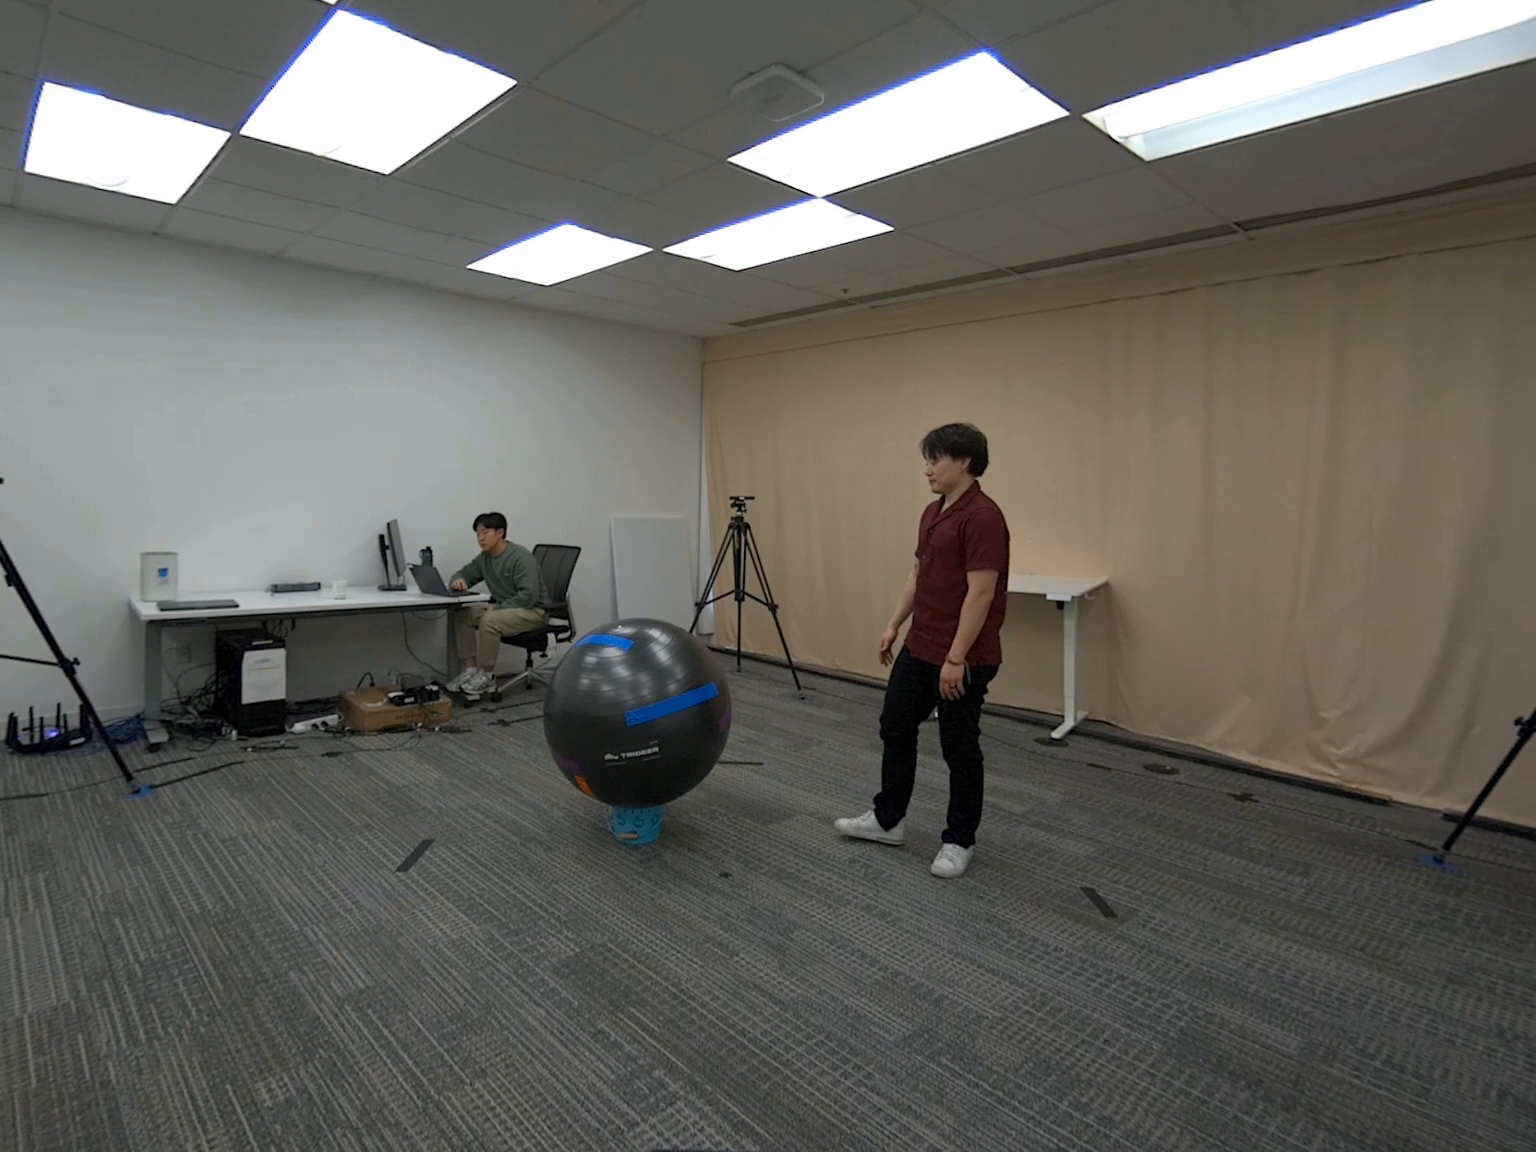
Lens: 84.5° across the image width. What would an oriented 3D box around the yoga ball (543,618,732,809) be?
[{"bbox_3d":[-0.529,0.552,3.427,0.757,0.756,0.761,1,4,-1],"label":"yoga ball"}]
